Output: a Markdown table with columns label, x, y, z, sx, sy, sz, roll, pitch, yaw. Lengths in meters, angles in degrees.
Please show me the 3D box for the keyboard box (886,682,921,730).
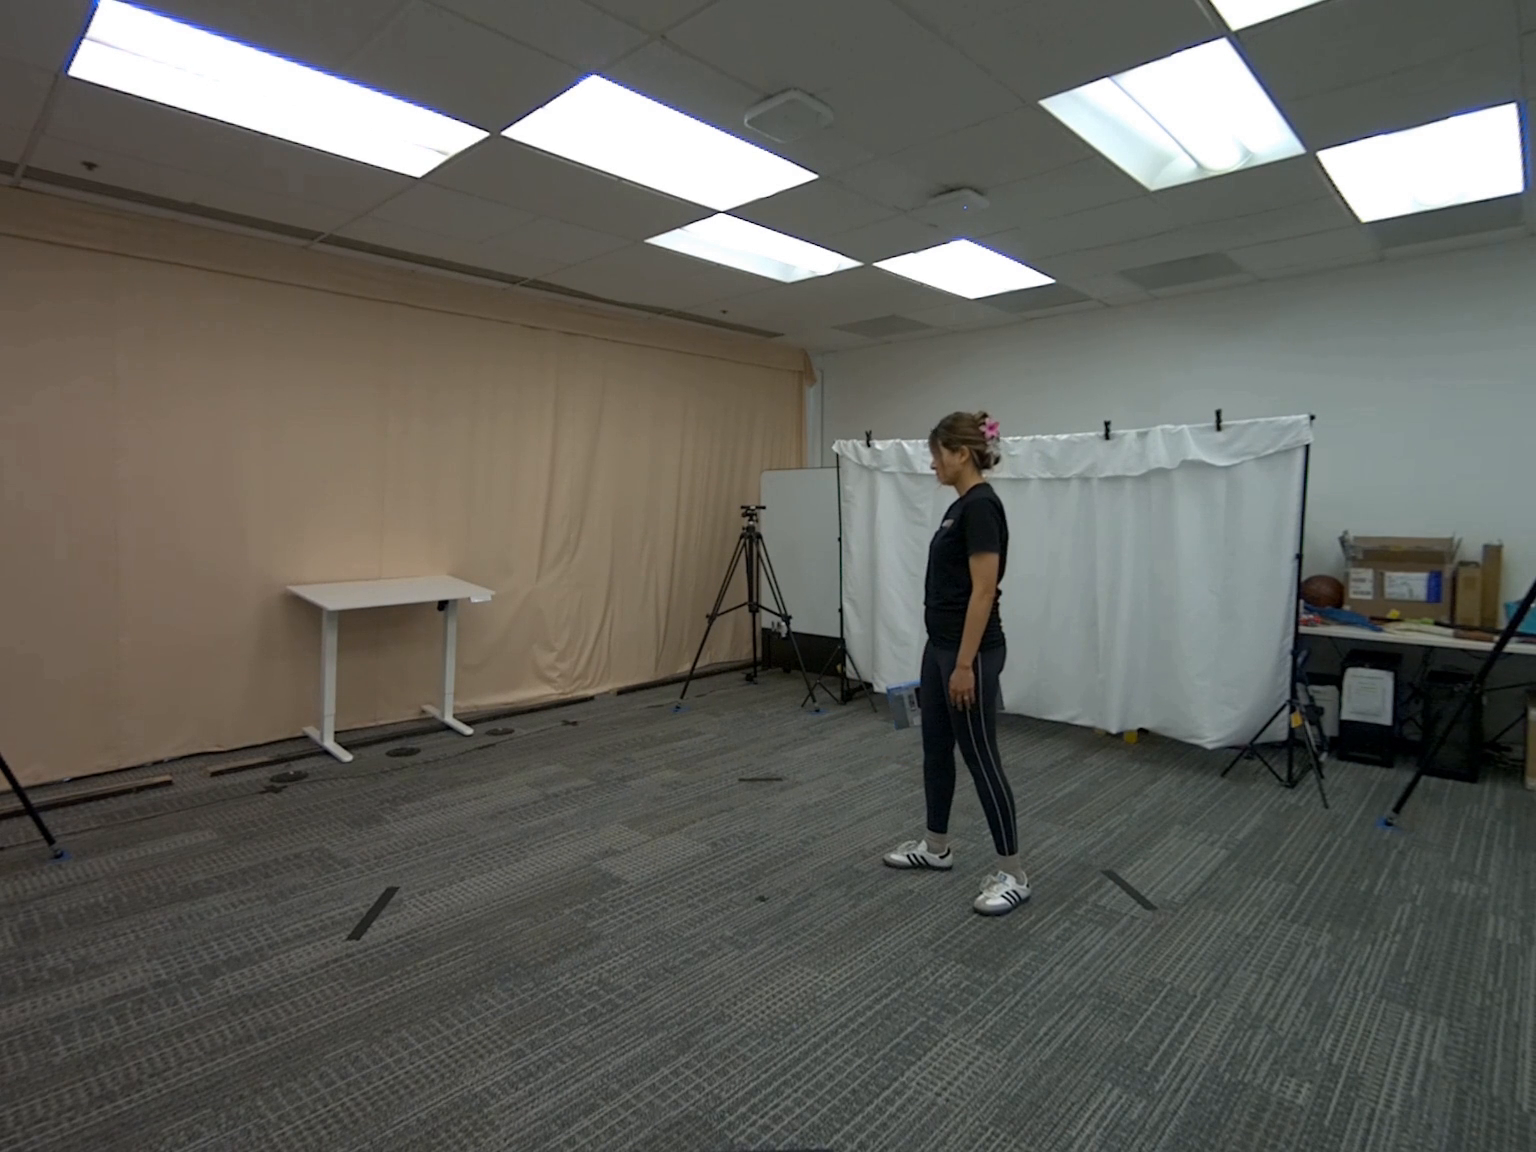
| label | x | y | z | sx | sy | sz | roll | pitch | yaw |
| --- | --- | --- | --- | --- | --- | --- | --- | --- | --- |
| keyboard box | 0.718 | 0.486 | 3.372 | 0.438 | 0.176 | 0.059 | -12 | 2 | 4 |
